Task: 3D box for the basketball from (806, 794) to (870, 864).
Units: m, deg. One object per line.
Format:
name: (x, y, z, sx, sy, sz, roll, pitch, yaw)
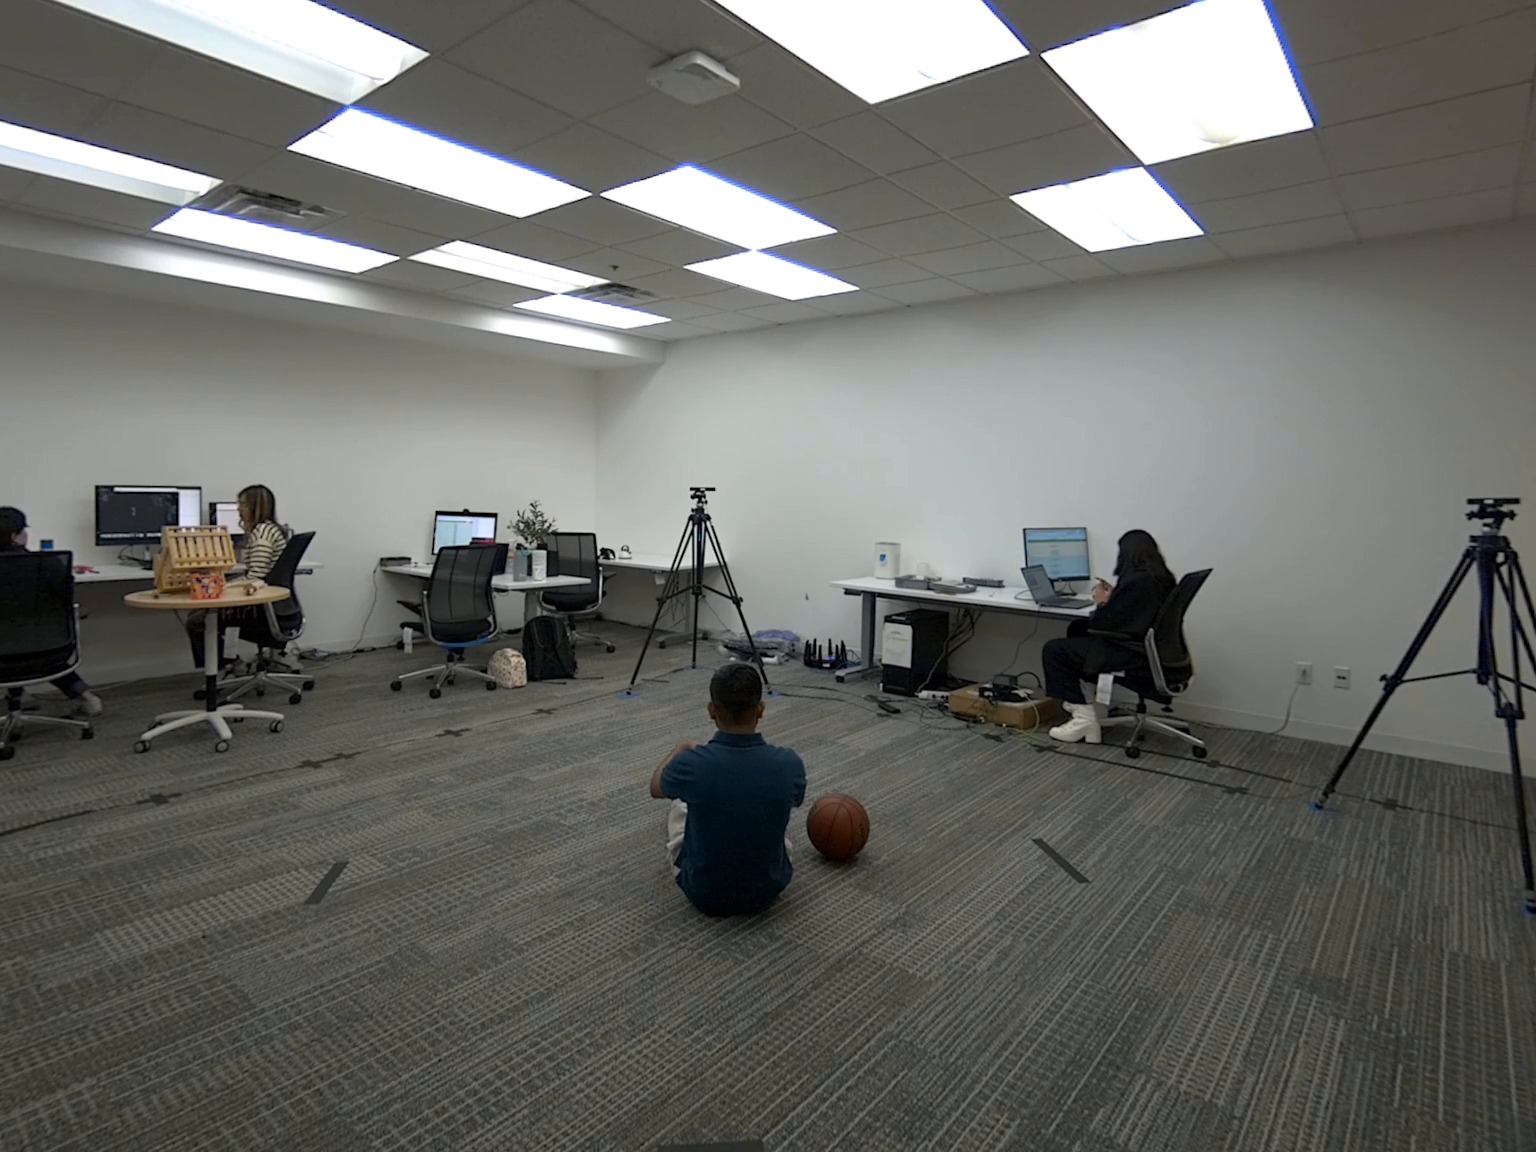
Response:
basketball: (0.259, 0.944, 3.229, 0.235, 0.235, 0.237, 1, 4, -2)
